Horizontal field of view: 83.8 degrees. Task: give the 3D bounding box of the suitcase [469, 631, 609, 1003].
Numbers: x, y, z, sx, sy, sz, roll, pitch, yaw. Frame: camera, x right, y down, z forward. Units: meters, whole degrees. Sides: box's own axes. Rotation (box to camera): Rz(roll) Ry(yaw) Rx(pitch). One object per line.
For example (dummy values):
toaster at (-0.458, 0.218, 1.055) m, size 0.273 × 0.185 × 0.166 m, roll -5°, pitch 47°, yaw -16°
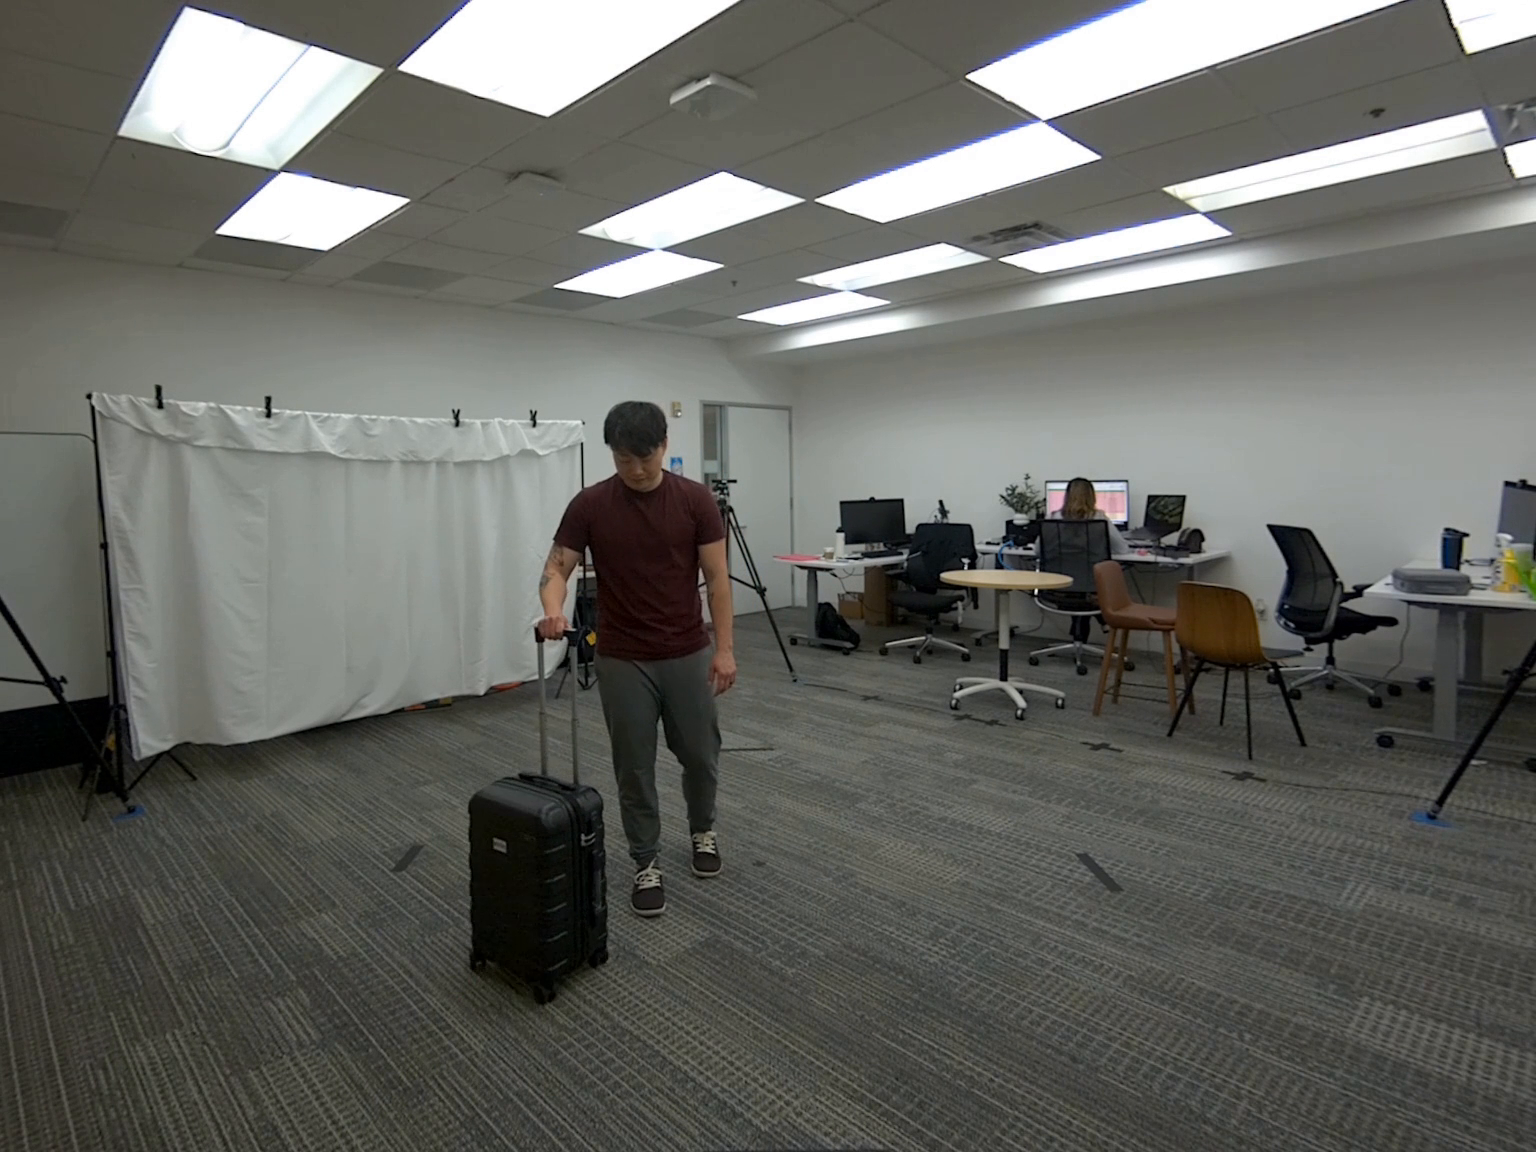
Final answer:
suitcase at (-0.663, 0.659, 2.430) m, size 0.395 × 0.974 × 0.251 m, roll 3°, pitch 6°, yaw 32°
